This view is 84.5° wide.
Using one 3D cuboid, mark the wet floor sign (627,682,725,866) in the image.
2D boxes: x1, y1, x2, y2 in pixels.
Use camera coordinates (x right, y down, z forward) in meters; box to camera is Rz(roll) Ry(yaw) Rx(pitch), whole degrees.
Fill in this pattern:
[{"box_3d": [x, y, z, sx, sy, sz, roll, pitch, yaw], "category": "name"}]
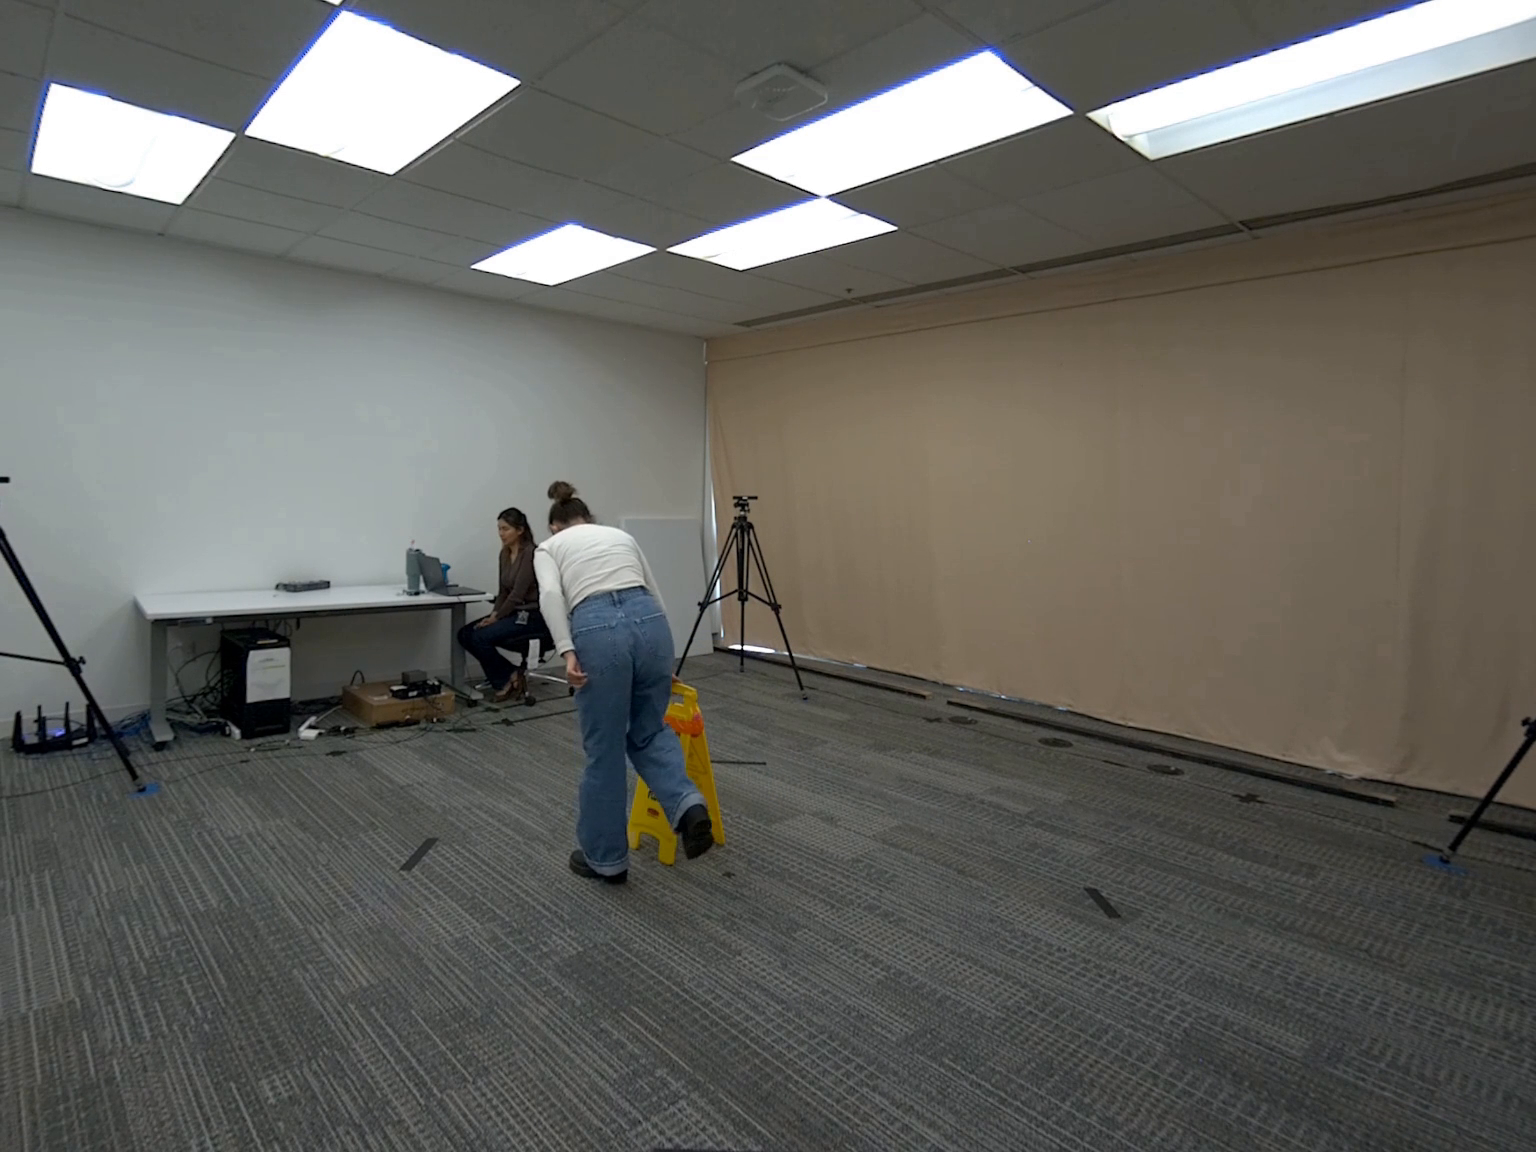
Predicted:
[{"box_3d": [-0.368, 0.754, 3.354, 0.289, 0.645, 0.283, 4, 4, 43], "category": "wet floor sign"}]
